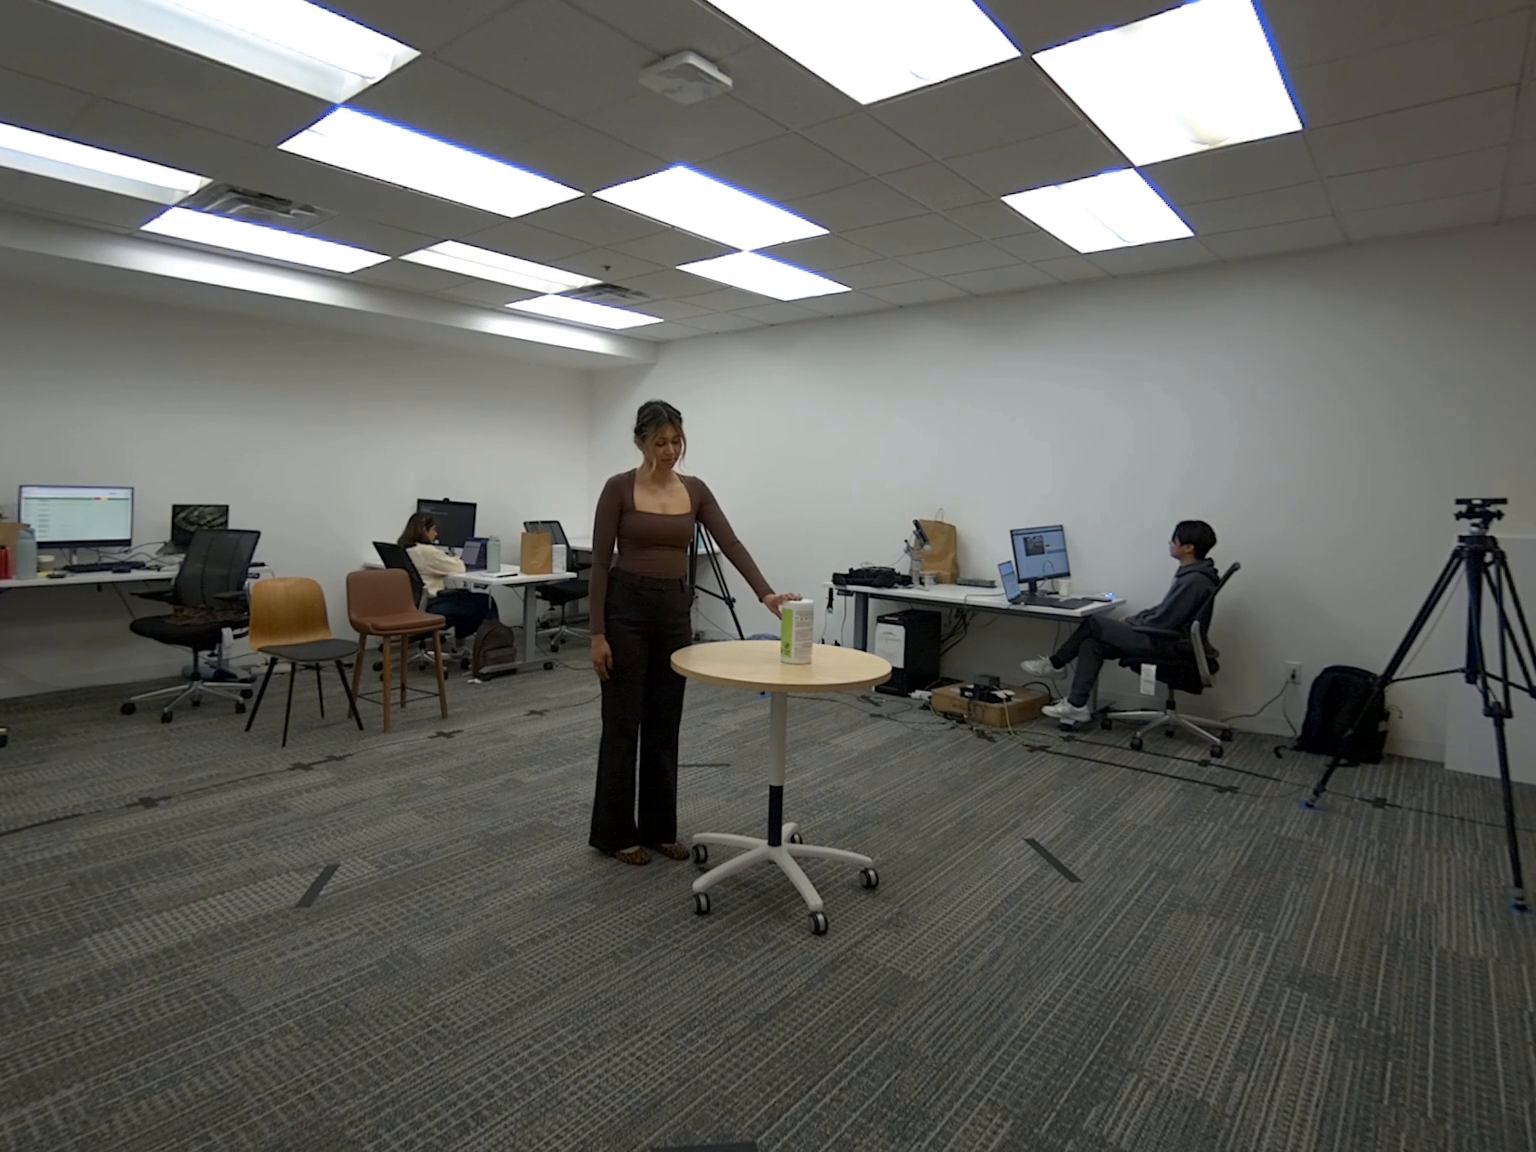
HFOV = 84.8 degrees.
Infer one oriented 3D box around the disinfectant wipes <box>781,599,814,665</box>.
[{"bbox_3d":[0.094,0.189,2.943,0.118,0.217,0.118,0,3,-2],"label":"disinfectant wipes"}]
